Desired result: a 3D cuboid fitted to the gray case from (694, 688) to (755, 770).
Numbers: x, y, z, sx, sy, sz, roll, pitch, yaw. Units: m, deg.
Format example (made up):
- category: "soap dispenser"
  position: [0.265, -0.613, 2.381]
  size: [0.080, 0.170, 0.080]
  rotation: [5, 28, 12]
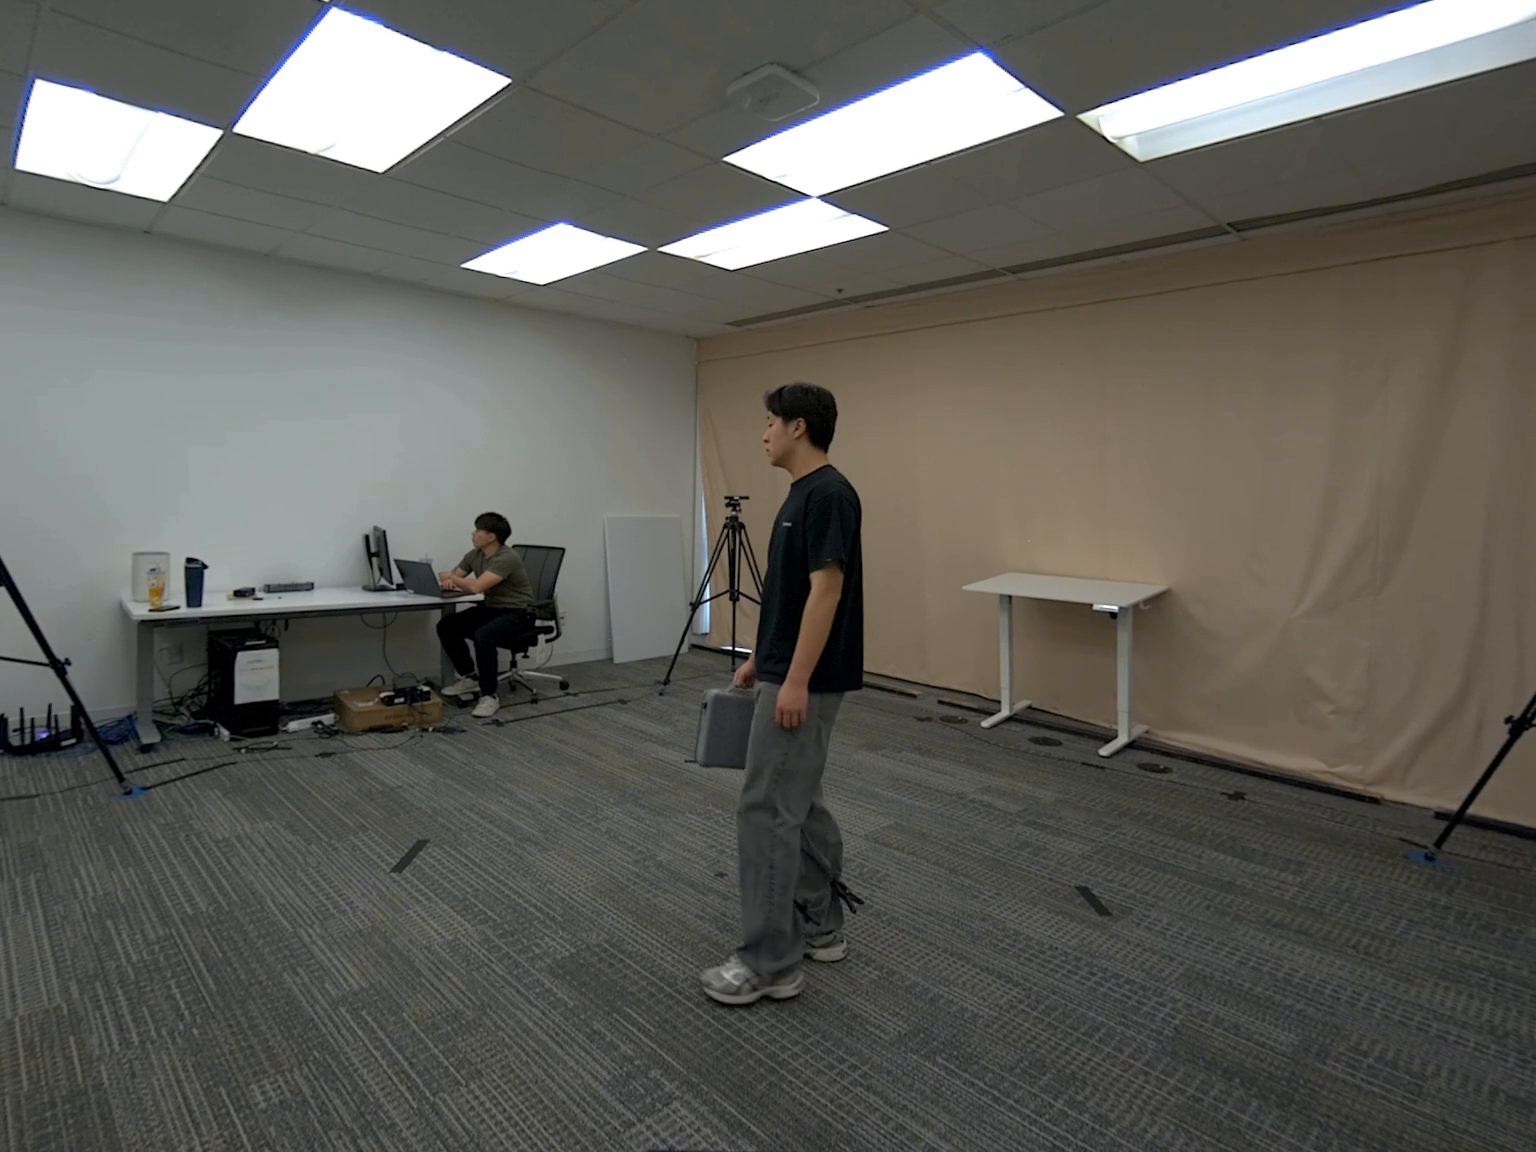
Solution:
- category: "gray case"
  position: [-0.090, 0.508, 2.814]
  size: [0.259, 0.287, 0.104]
  rotation: [7, -2, -17]
